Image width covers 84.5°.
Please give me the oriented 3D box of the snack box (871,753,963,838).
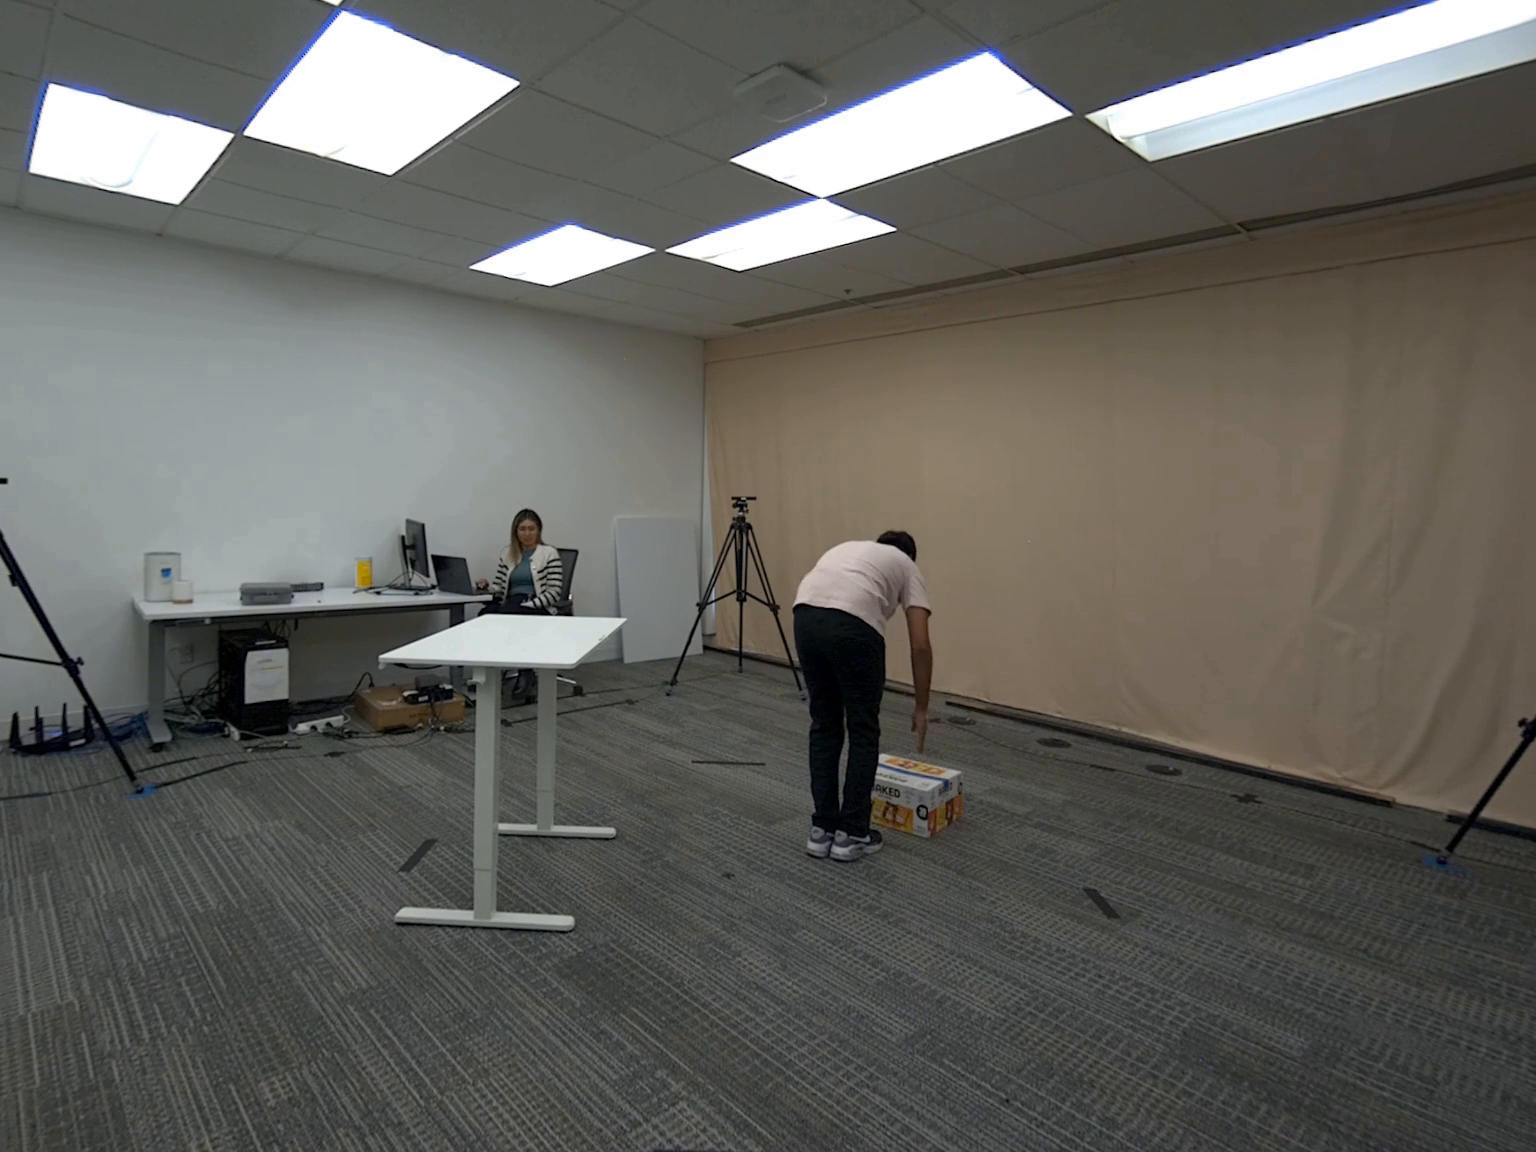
[{"bbox_3d":[0.591,0.968,3.748,0.415,0.205,0.333,5,5,38],"label":"snack box"}]
